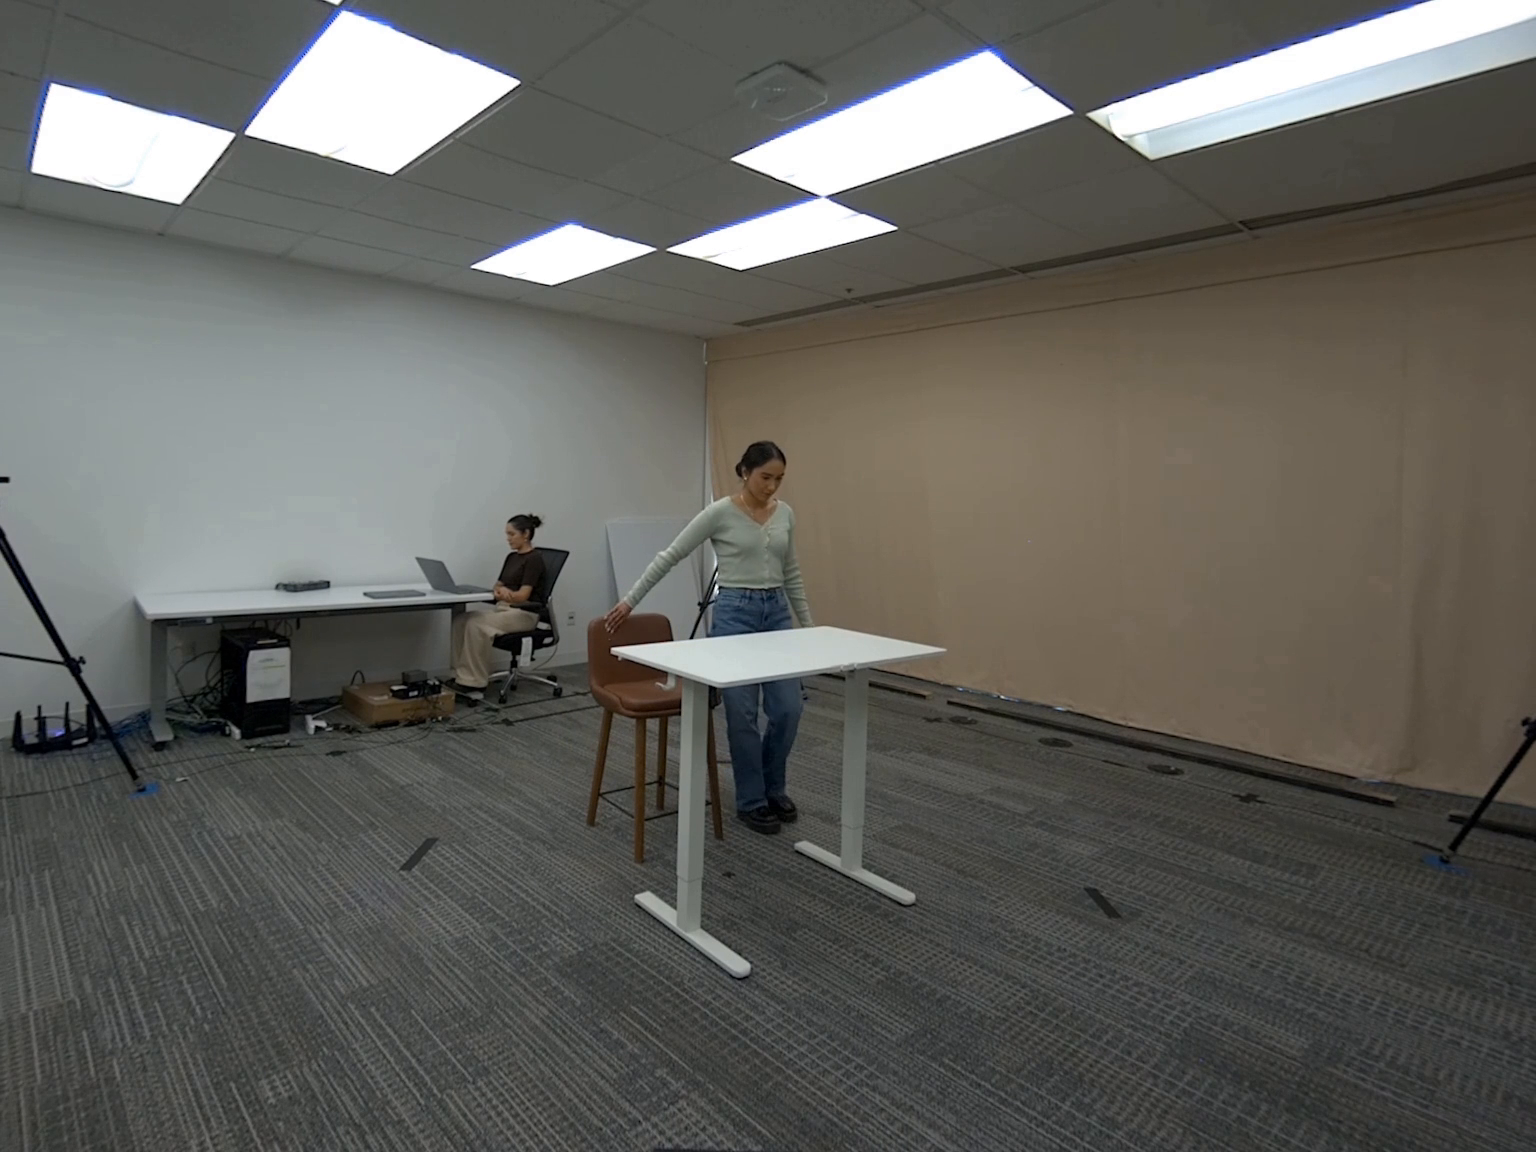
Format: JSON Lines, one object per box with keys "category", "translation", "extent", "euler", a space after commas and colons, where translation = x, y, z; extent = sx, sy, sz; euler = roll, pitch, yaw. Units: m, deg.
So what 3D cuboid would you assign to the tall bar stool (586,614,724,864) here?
{"category": "tall bar stool", "translation": [-0.482, 0.622, 3.464], "extent": [0.446, 0.889, 0.479], "euler": [0, 2, -38]}
